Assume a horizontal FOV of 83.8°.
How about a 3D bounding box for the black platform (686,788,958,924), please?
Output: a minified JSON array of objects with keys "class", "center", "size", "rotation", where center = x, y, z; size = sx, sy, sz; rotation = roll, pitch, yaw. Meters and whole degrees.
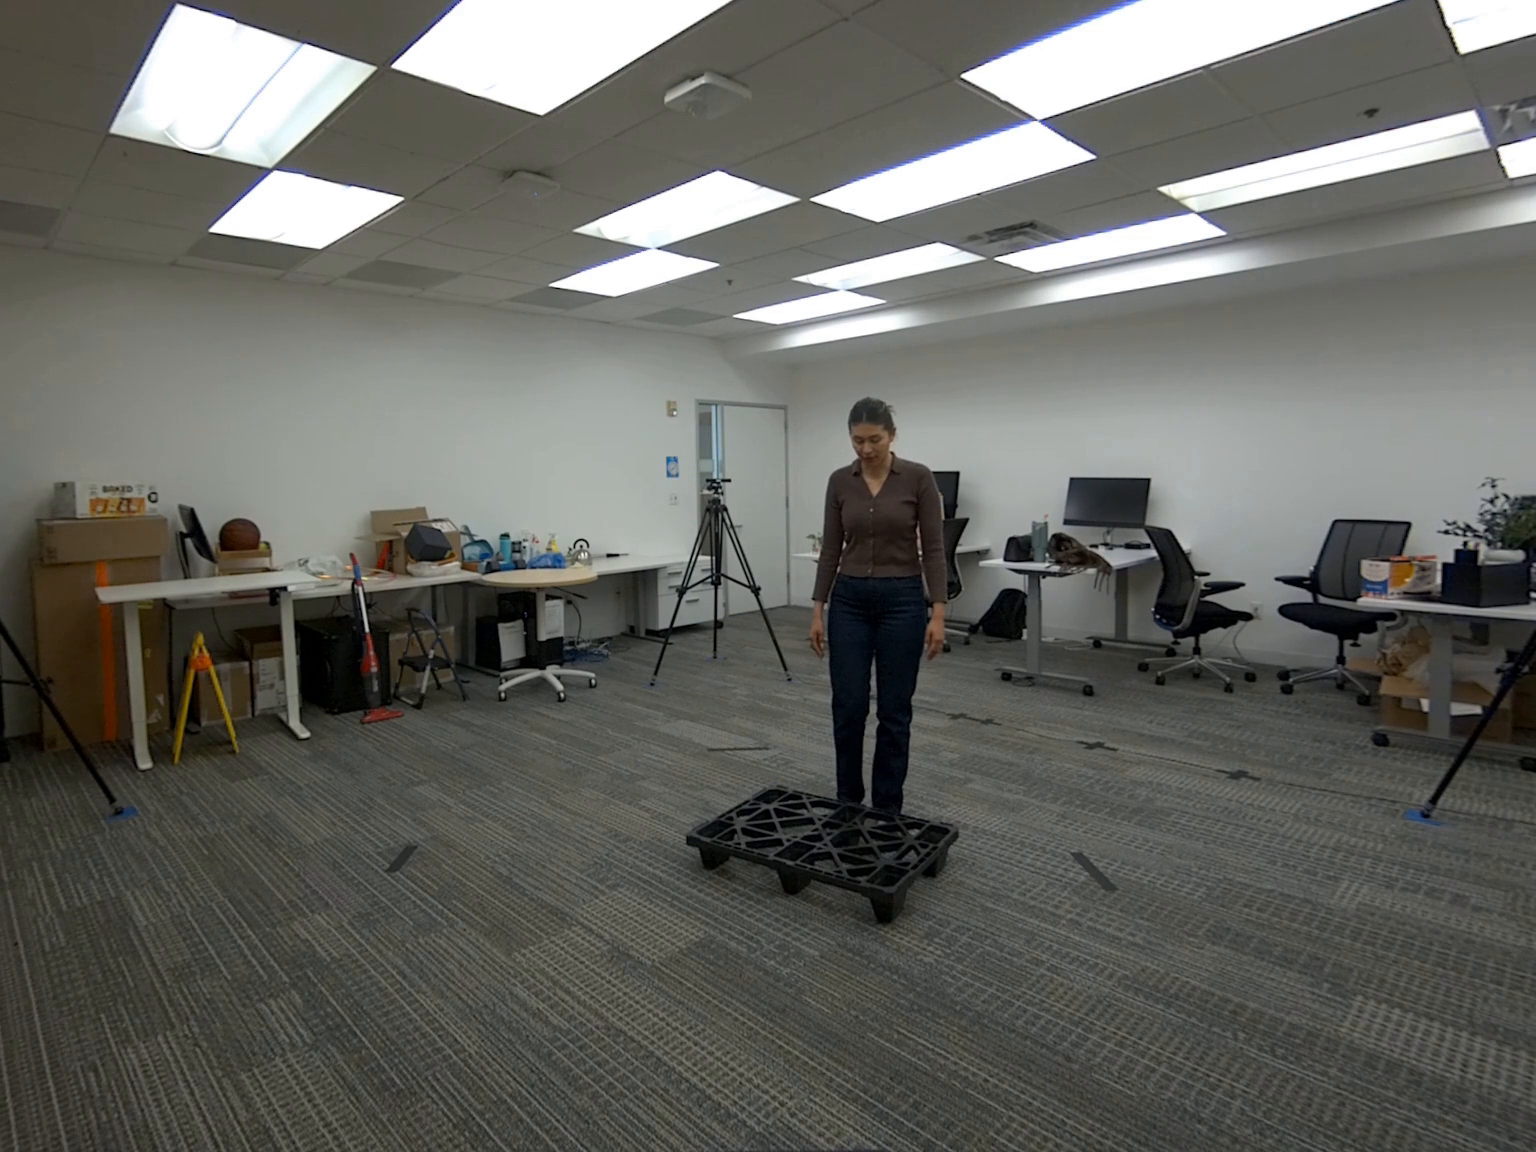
[{"class":"black platform","center":[0.197,0.979,3.057],"size":[0.828,0.142,0.591],"rotation":[3,8,34]}]
